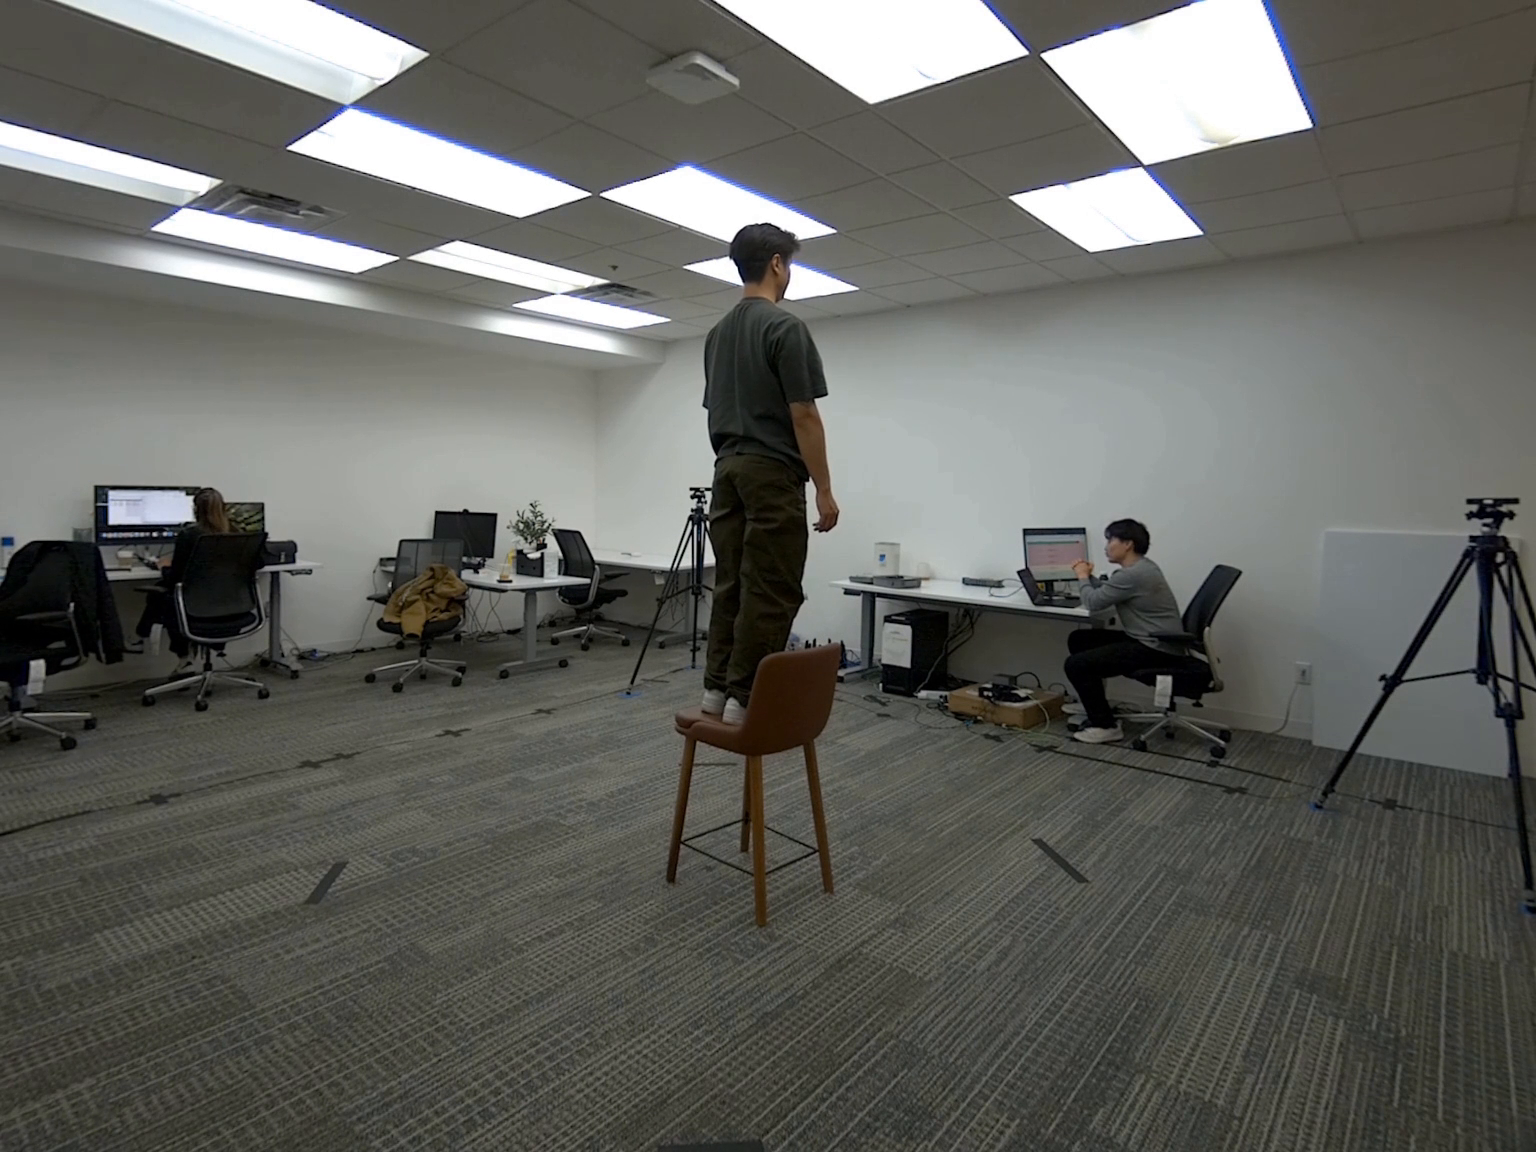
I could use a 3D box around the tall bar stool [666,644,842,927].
[{"bbox_3d":[-0.053,0.648,2.959,0.484,0.886,0.442,7,6,43],"label":"tall bar stool"}]
